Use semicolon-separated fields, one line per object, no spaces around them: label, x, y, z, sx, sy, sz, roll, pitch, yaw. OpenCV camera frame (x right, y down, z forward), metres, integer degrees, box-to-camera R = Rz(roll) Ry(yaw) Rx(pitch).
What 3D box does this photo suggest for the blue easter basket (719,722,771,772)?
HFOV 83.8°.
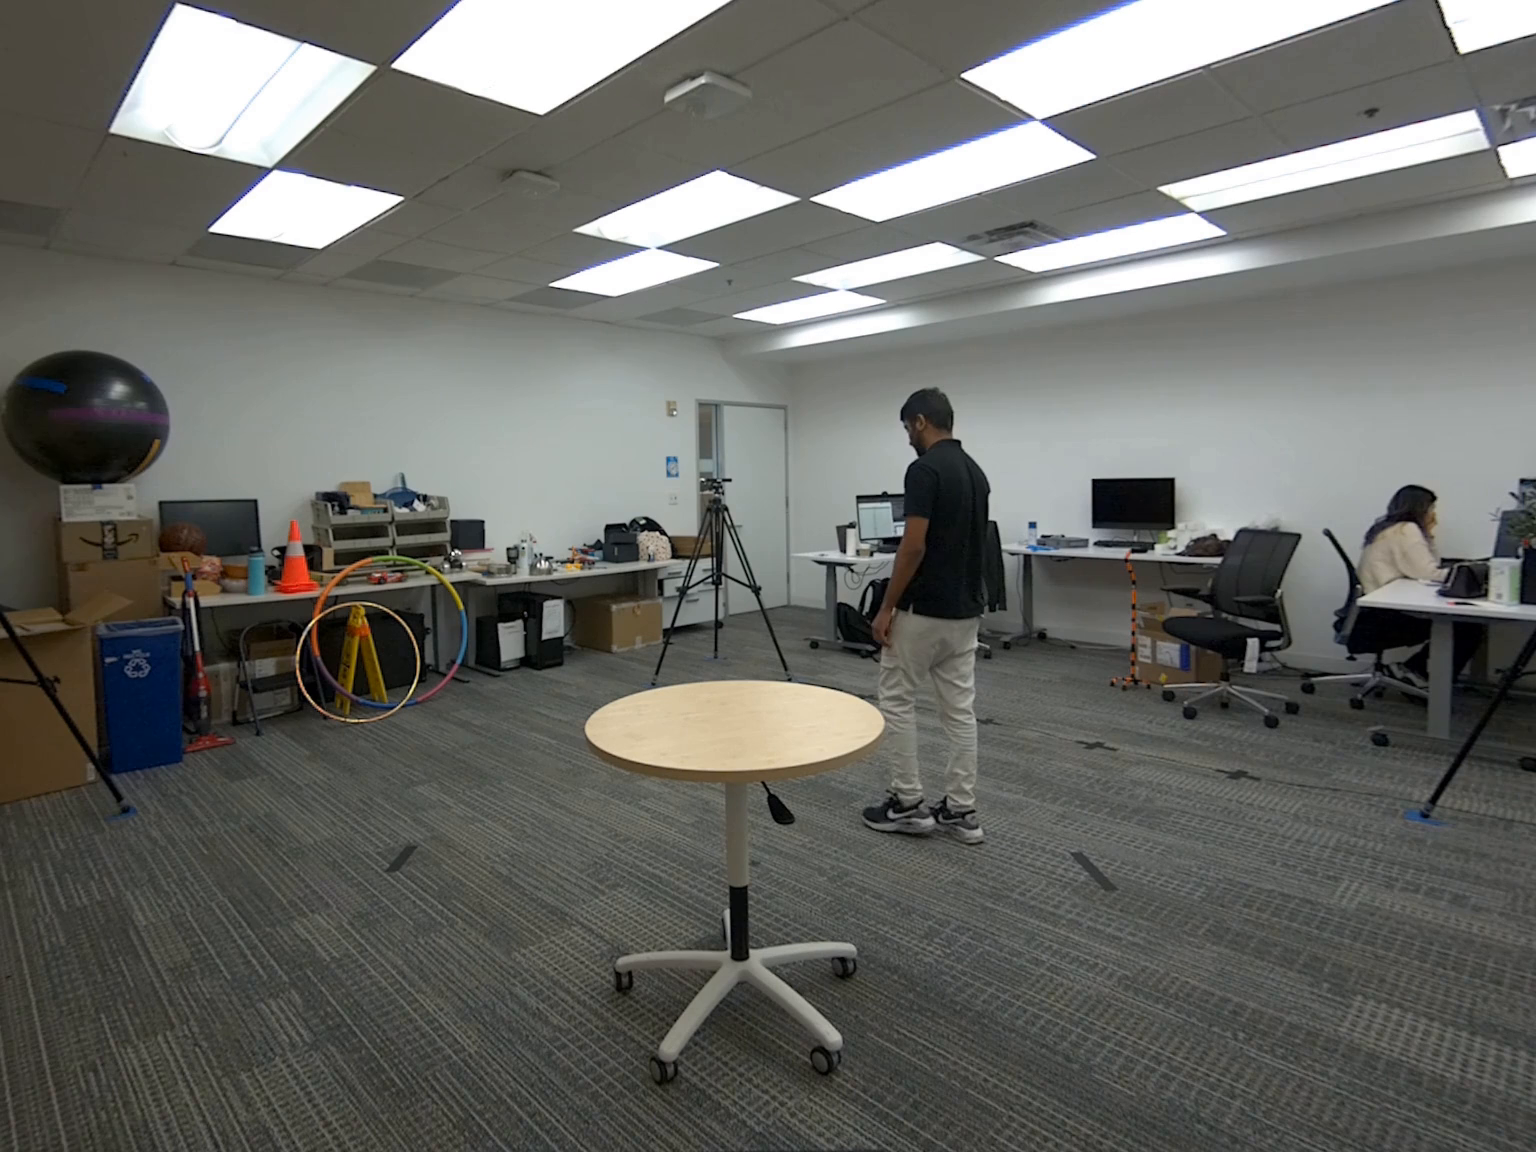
blue easter basket;-0.120;0.843;4.257;0.243;0.155;0.245;-2;6;-1
